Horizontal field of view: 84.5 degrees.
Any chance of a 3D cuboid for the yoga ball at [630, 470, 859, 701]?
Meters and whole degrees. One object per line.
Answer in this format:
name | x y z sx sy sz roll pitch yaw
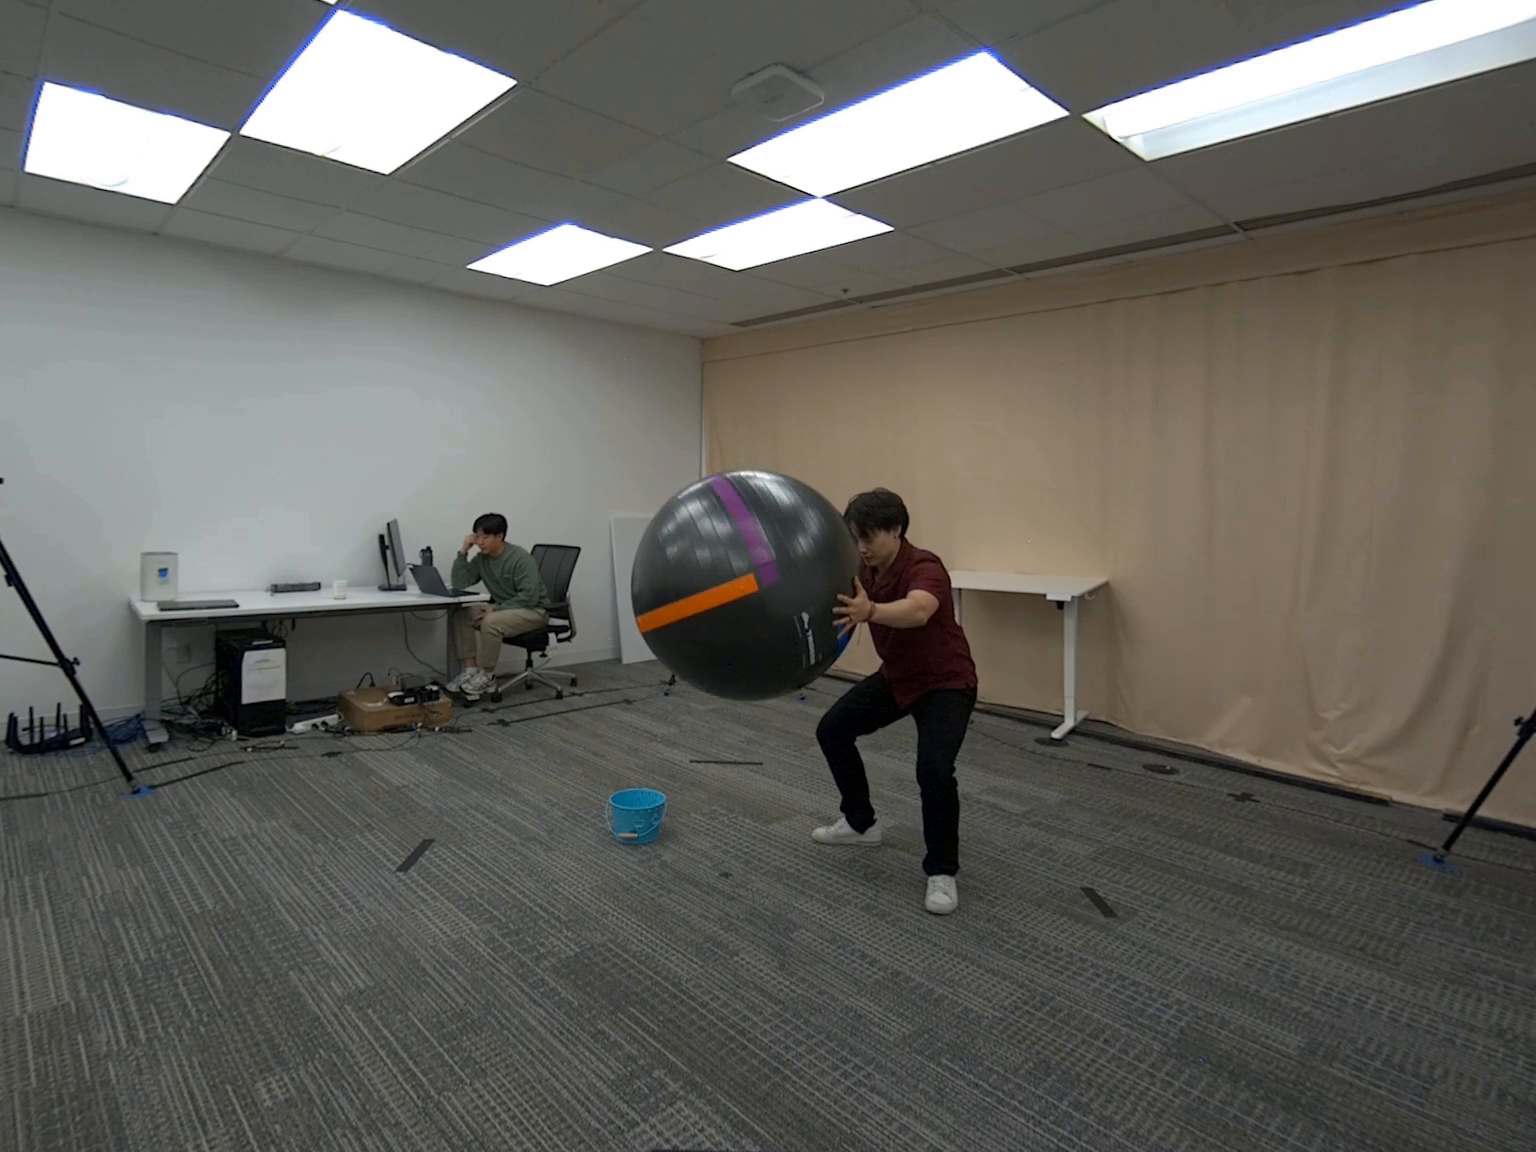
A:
yoga ball | -0.072 0.031 2.765 0.757 0.756 0.761 1 4 -1
